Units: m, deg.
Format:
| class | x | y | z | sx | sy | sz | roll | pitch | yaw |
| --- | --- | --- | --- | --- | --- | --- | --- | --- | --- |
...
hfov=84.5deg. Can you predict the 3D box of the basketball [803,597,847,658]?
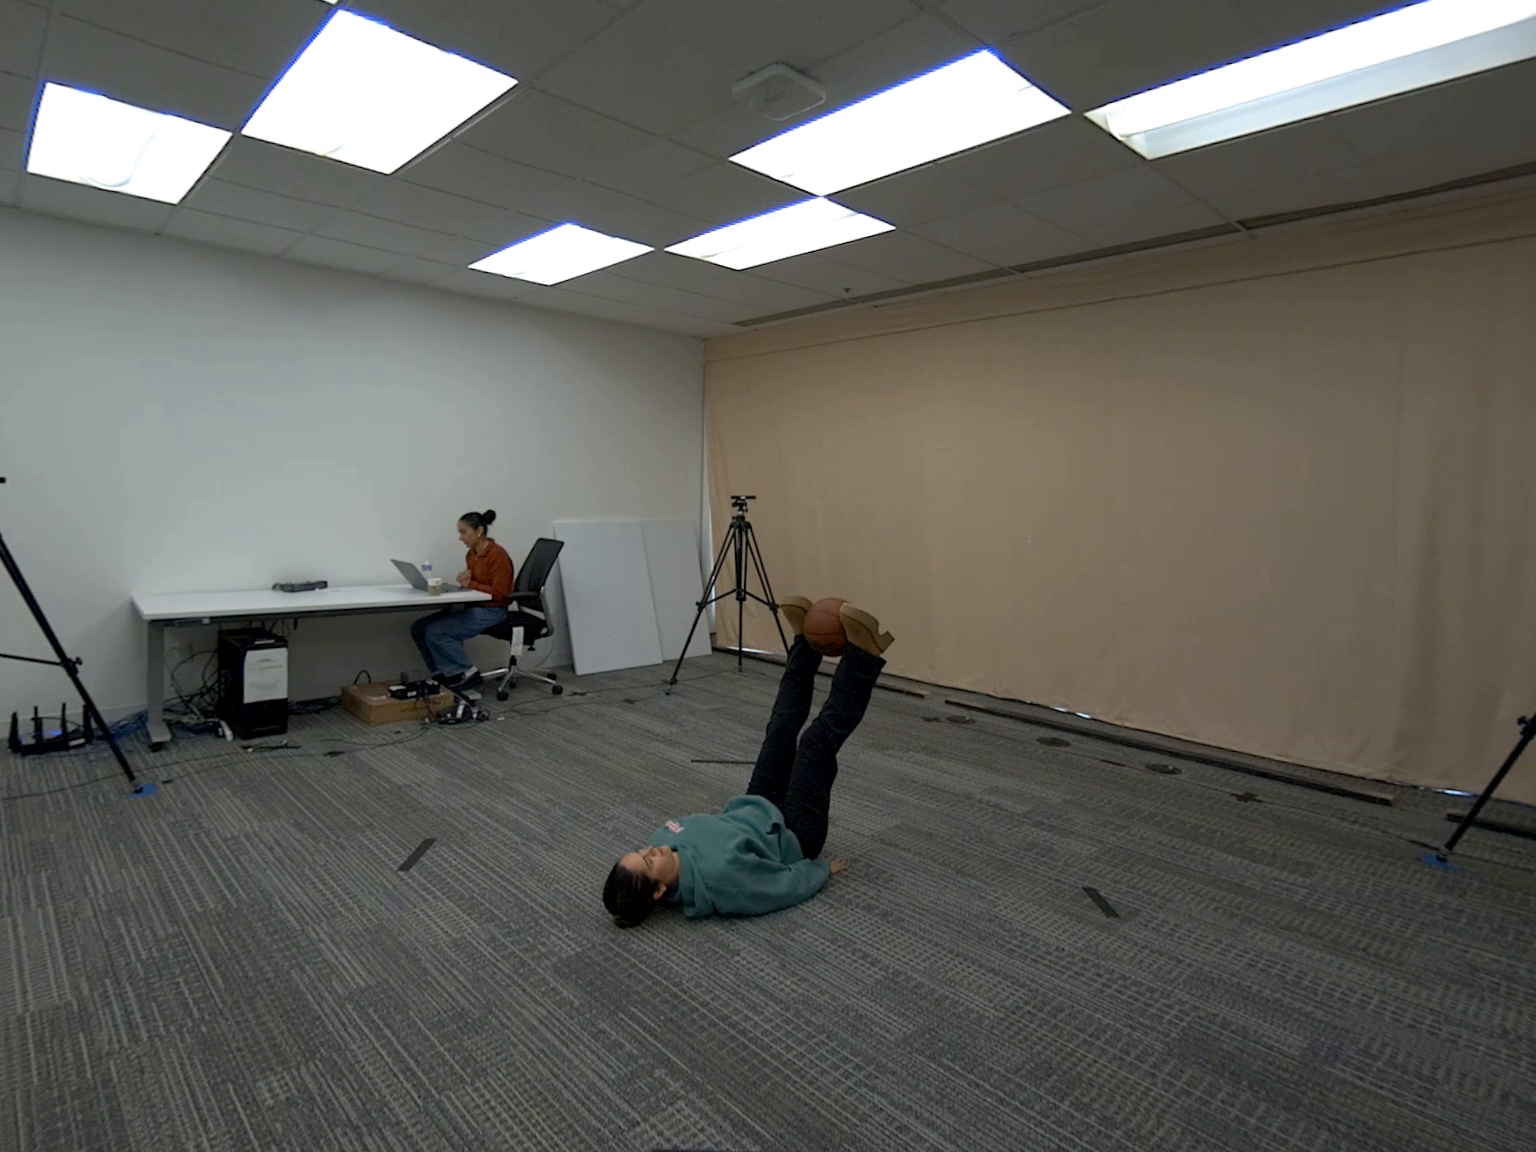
| class | x | y | z | sx | sy | sz | roll | pitch | yaw |
| --- | --- | --- | --- | --- | --- | --- | --- | --- | --- |
| basketball | 0.257 | 0.205 | 3.356 | 0.236 | 0.235 | 0.237 | 1 | 5 | -1 |
